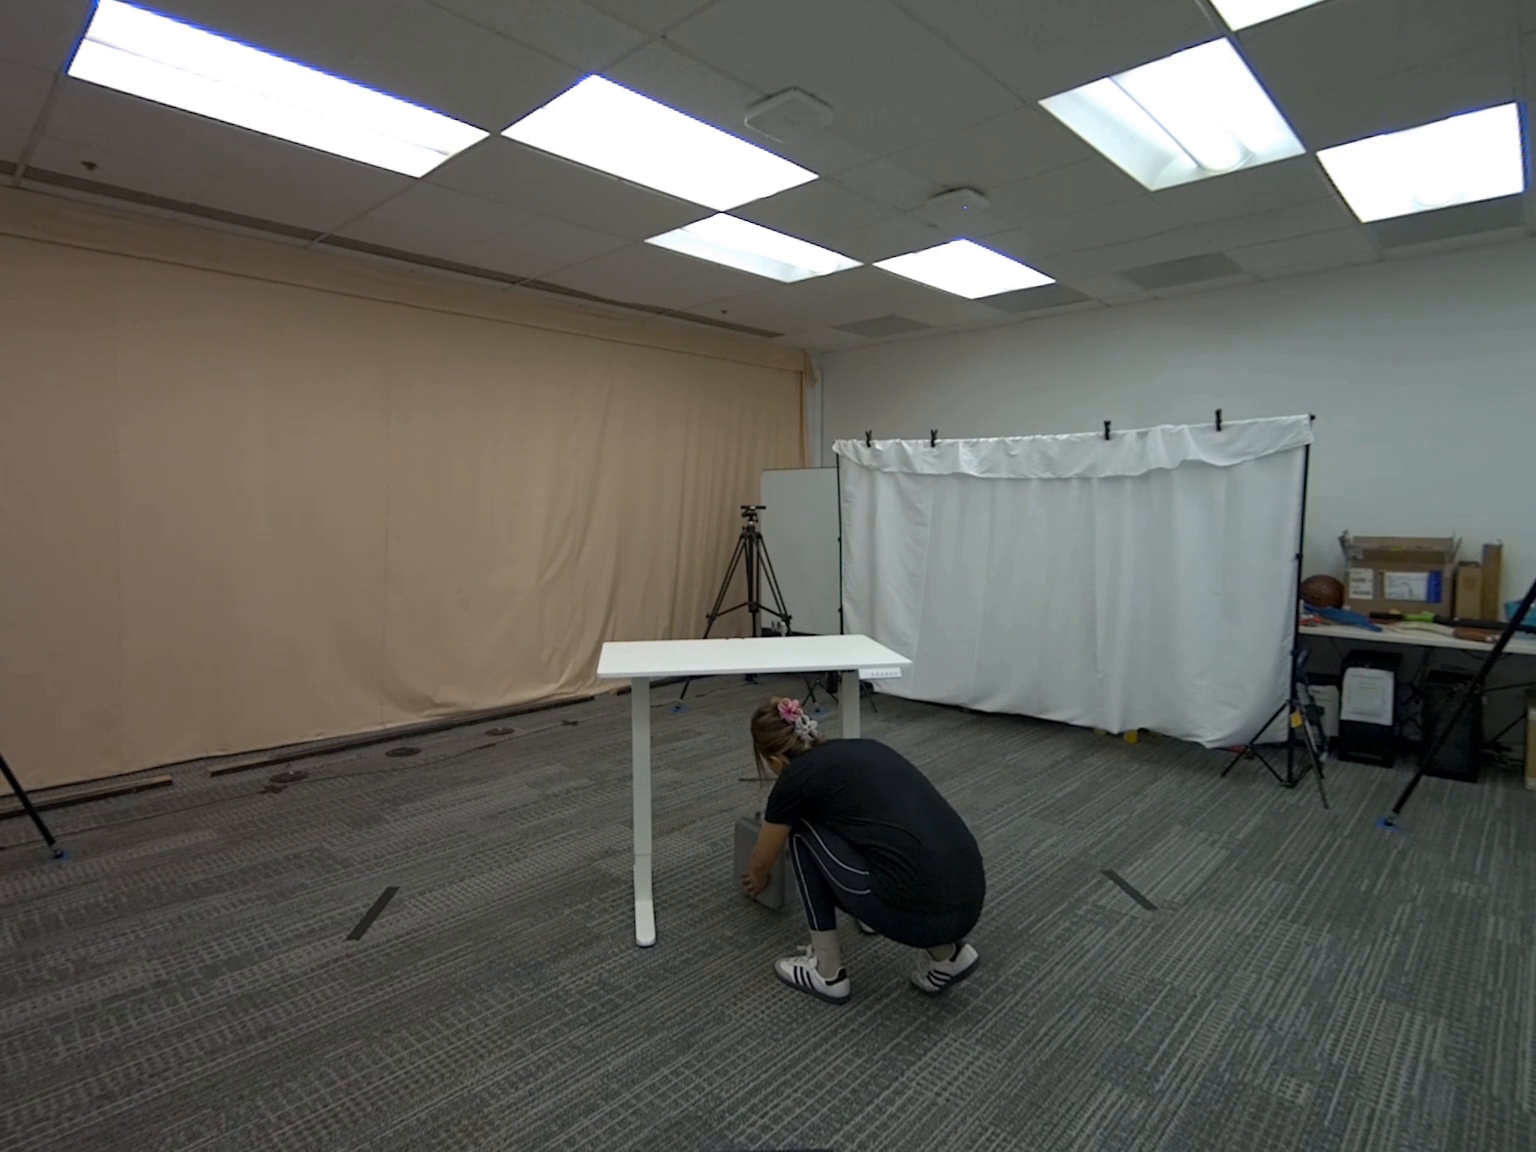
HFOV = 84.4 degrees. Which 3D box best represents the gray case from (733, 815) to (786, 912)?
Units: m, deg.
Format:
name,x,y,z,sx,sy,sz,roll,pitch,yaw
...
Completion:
name,x,y,z,sx,sy,sz,roll,pitch,yaw
gray case,-0.012,0.989,2.937,0.101,0.260,0.265,2,4,-34
